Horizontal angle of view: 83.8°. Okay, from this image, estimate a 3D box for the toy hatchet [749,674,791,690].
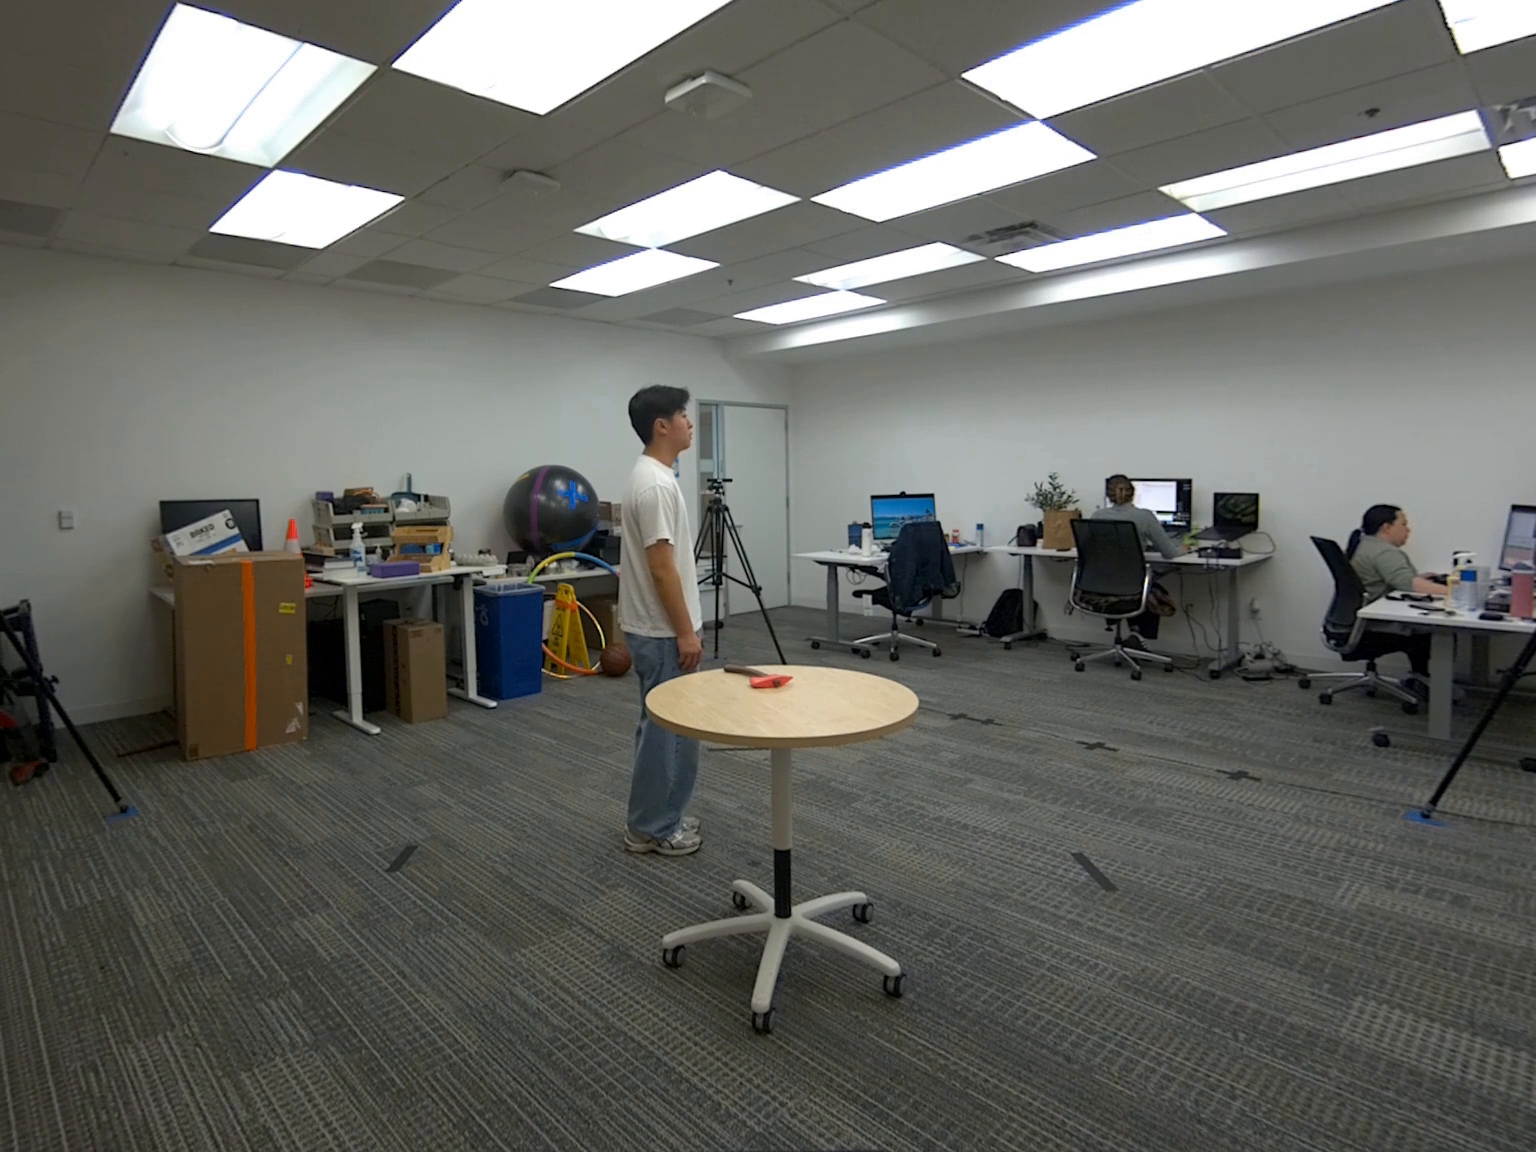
[{"bbox_3d":[-0.055,0.307,2.607,0.128,0.029,0.278,-13,11,-44],"label":"toy hatchet"}]
